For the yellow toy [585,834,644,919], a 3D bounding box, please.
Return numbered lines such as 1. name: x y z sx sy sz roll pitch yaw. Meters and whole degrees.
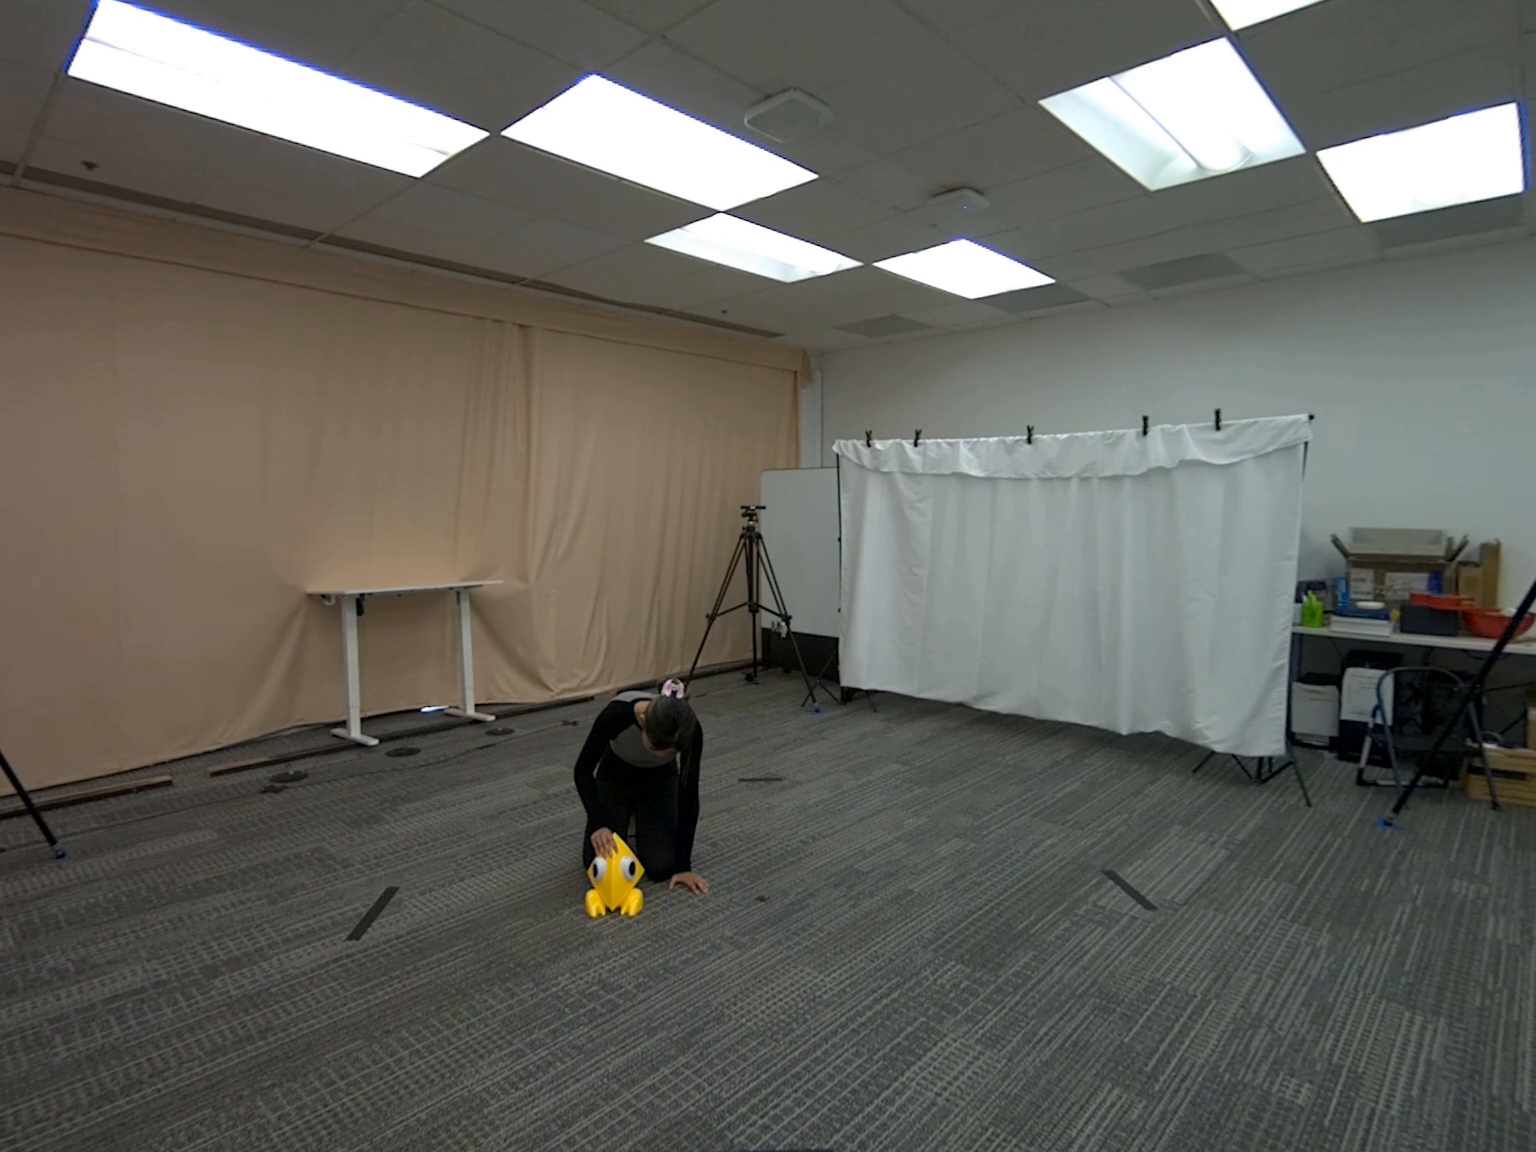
1. yellow toy: -0.536 1.031 2.945 0.204 0.230 0.194 -1 3 -4
